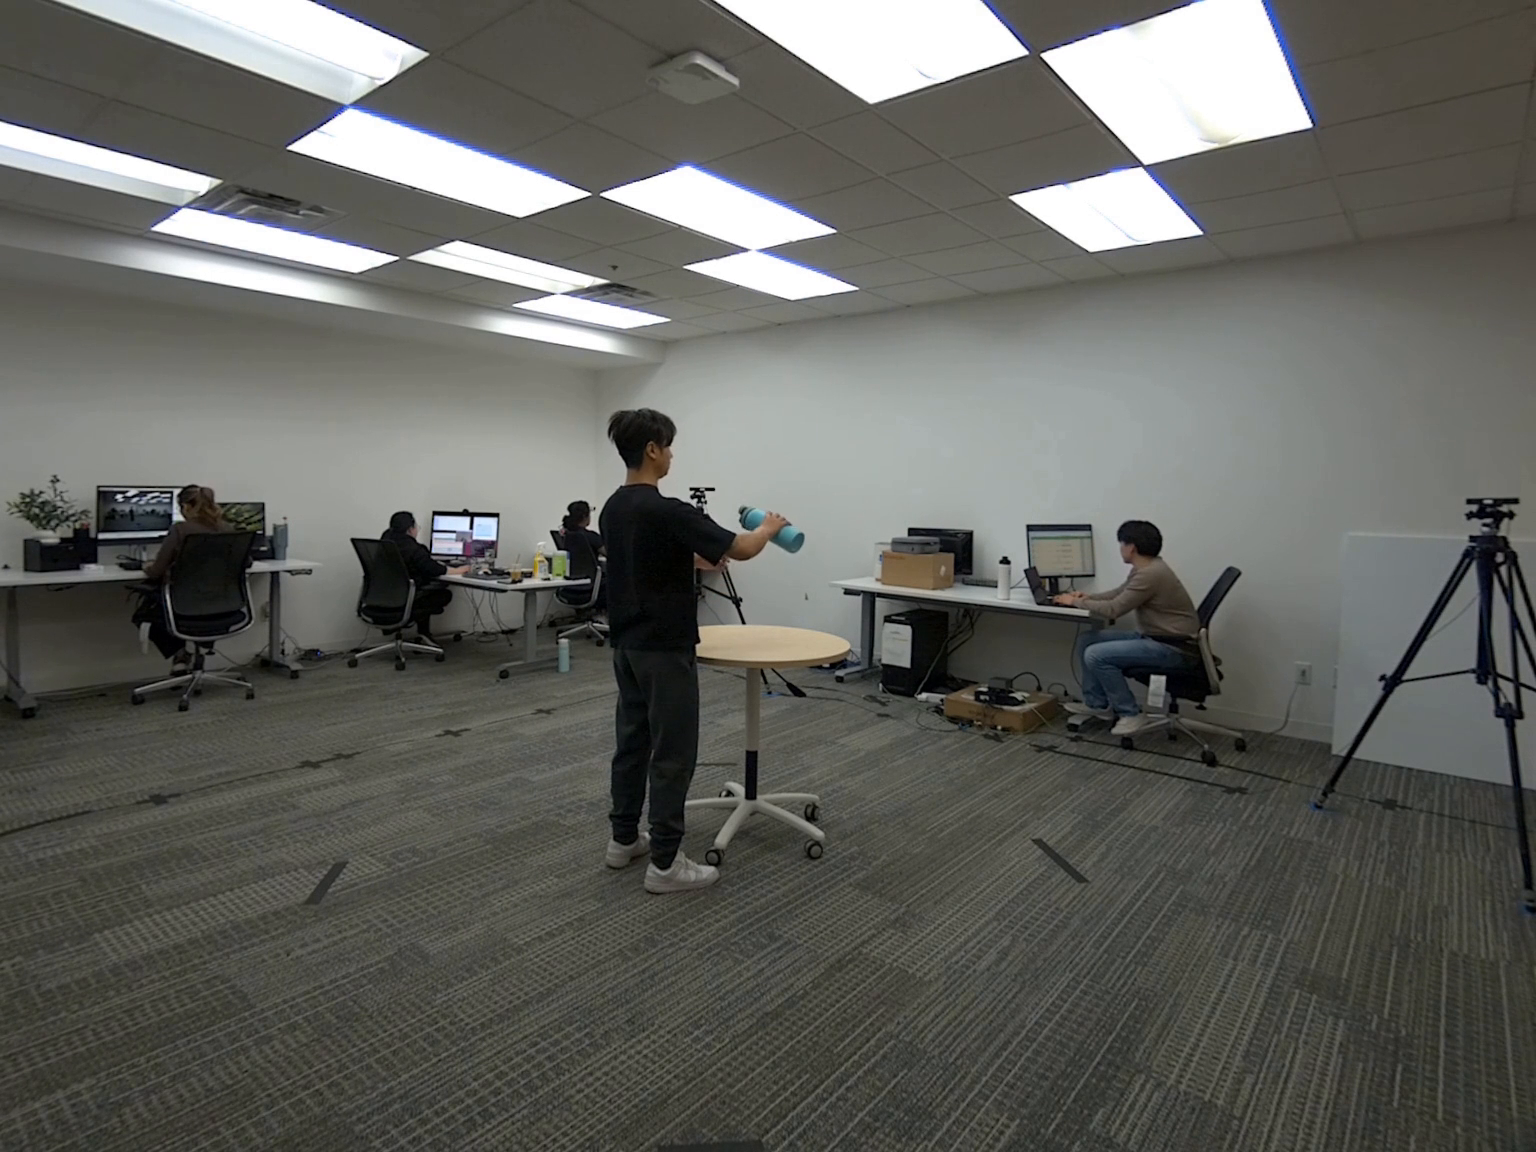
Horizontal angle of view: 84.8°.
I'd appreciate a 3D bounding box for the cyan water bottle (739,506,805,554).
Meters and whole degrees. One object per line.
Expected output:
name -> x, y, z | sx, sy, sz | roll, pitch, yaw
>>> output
cyan water bottle -> -0.010, -0.180, 3.230 | 0.294, 0.091, 0.090 | 29, 19, 31
